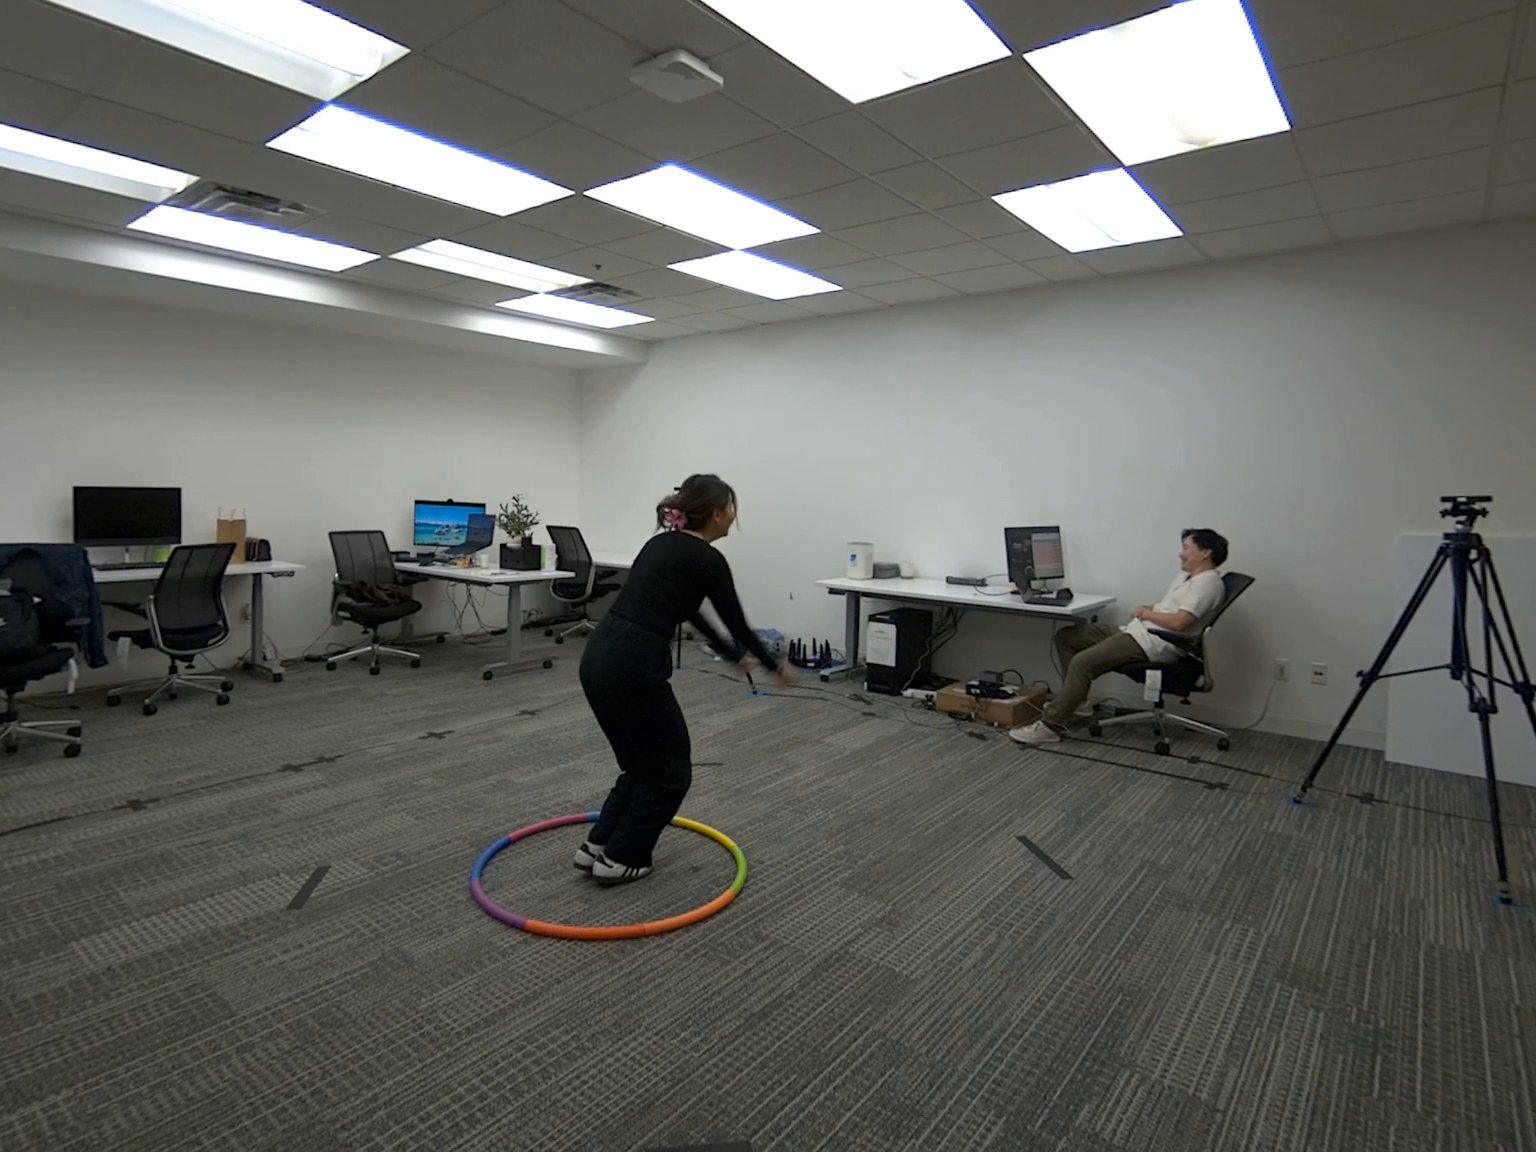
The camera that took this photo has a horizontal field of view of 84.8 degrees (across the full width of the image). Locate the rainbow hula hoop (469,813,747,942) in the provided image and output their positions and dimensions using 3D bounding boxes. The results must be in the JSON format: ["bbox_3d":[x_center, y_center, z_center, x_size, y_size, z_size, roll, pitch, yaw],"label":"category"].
[{"bbox_3d":[-0.573,1.036,3.082,0.978,0.035,0.984,1,5,-2],"label":"rainbow hula hoop"}]
